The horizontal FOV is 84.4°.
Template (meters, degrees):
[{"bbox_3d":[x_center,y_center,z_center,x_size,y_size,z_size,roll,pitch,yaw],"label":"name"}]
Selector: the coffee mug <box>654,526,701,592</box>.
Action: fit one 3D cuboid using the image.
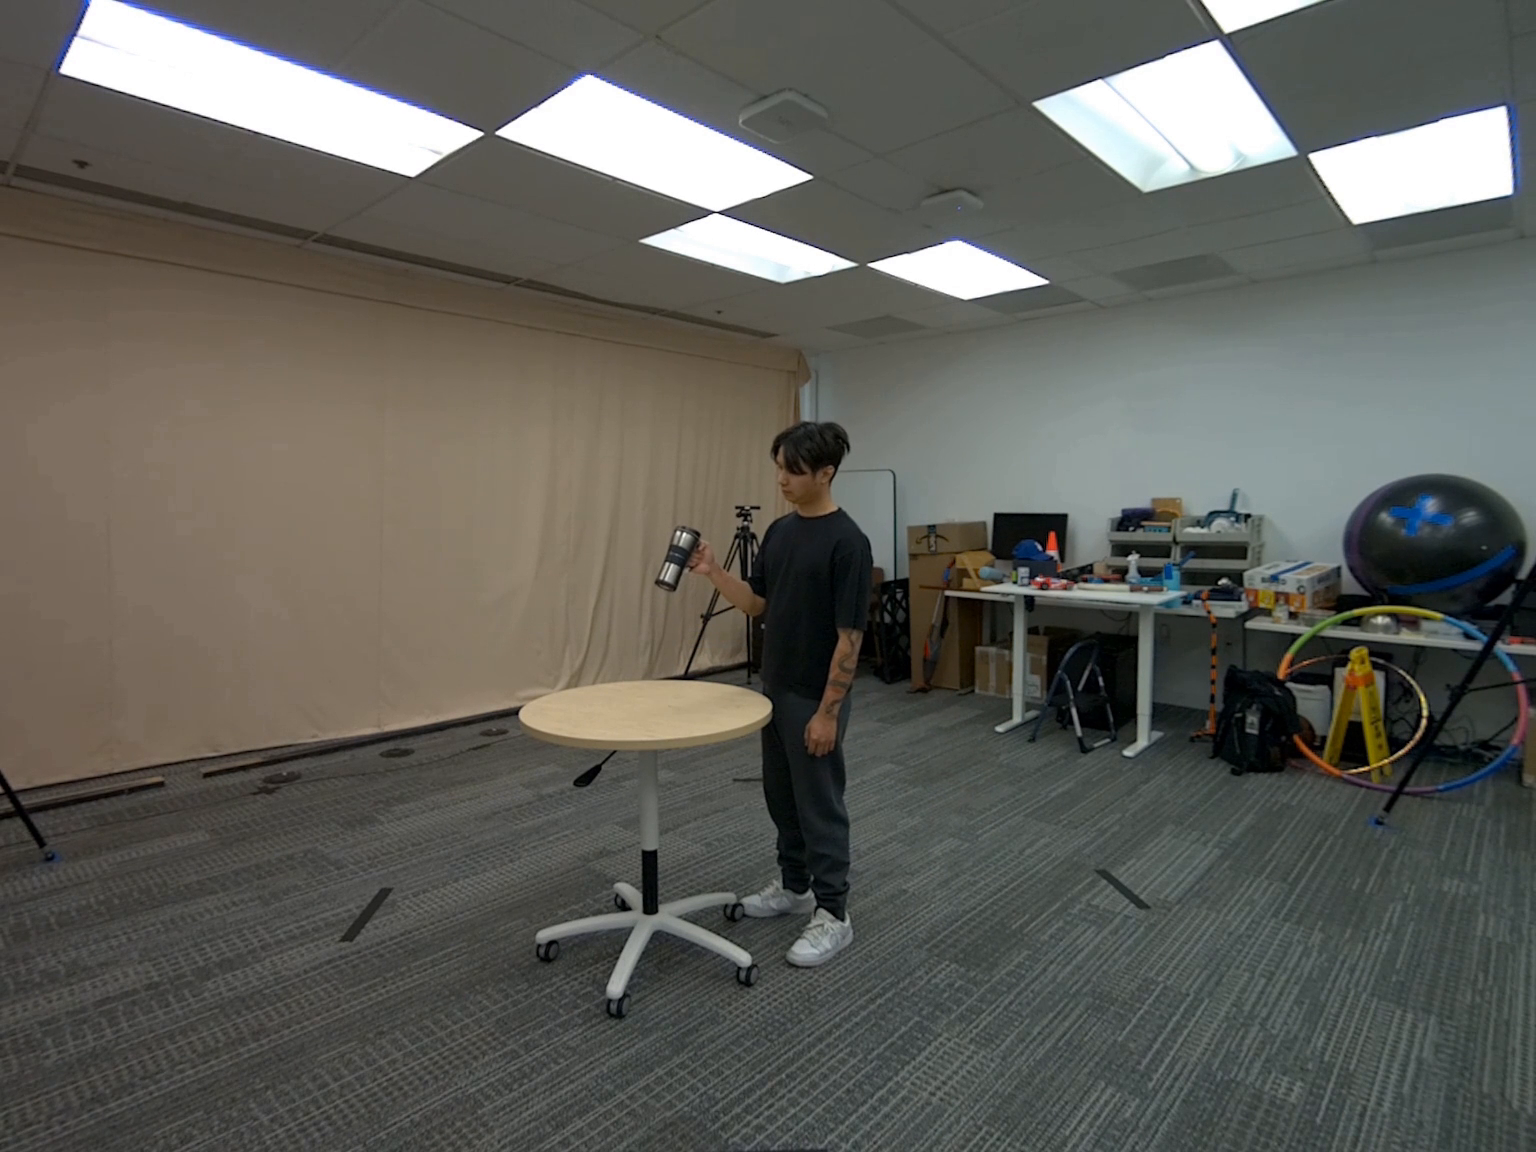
[{"bbox_3d":[-0.270,-0.042,2.673,0.120,0.203,0.089,24,-16,-16],"label":"coffee mug"}]
